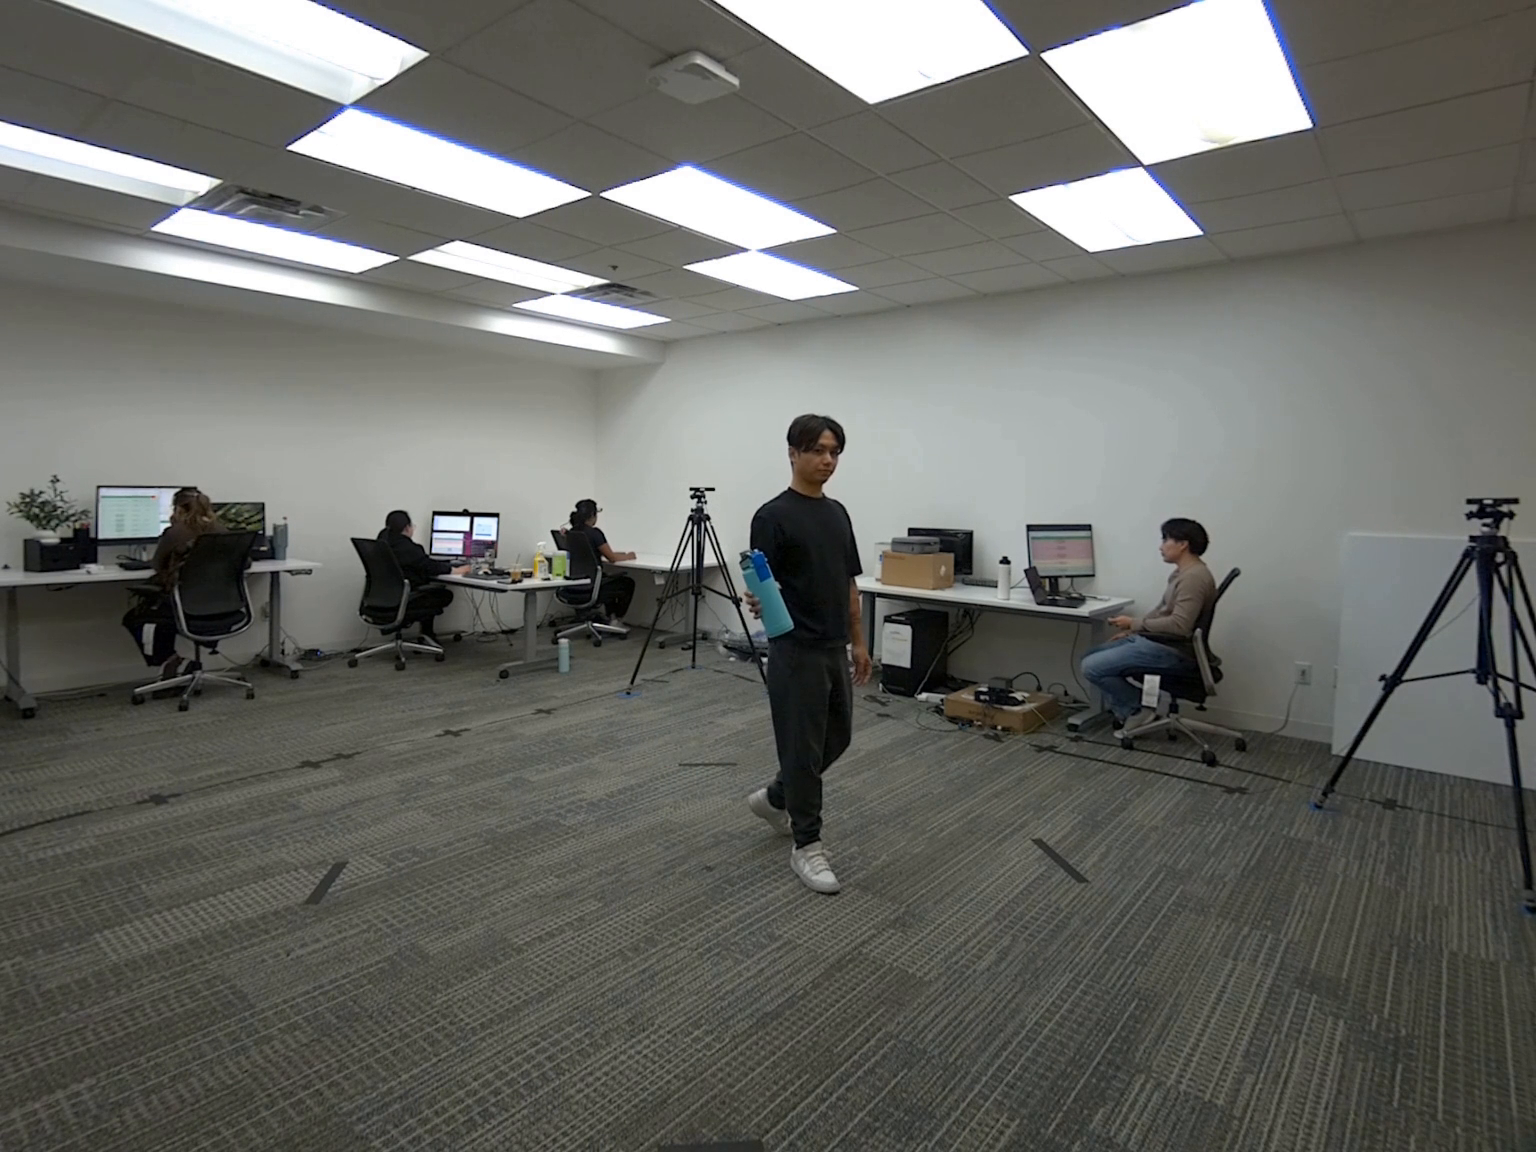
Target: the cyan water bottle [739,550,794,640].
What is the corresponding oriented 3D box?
[{"bbox_3d":[-0.024,0.045,2.688,0.092,0.283,0.092,-20,0,-1],"label":"cyan water bottle"}]
